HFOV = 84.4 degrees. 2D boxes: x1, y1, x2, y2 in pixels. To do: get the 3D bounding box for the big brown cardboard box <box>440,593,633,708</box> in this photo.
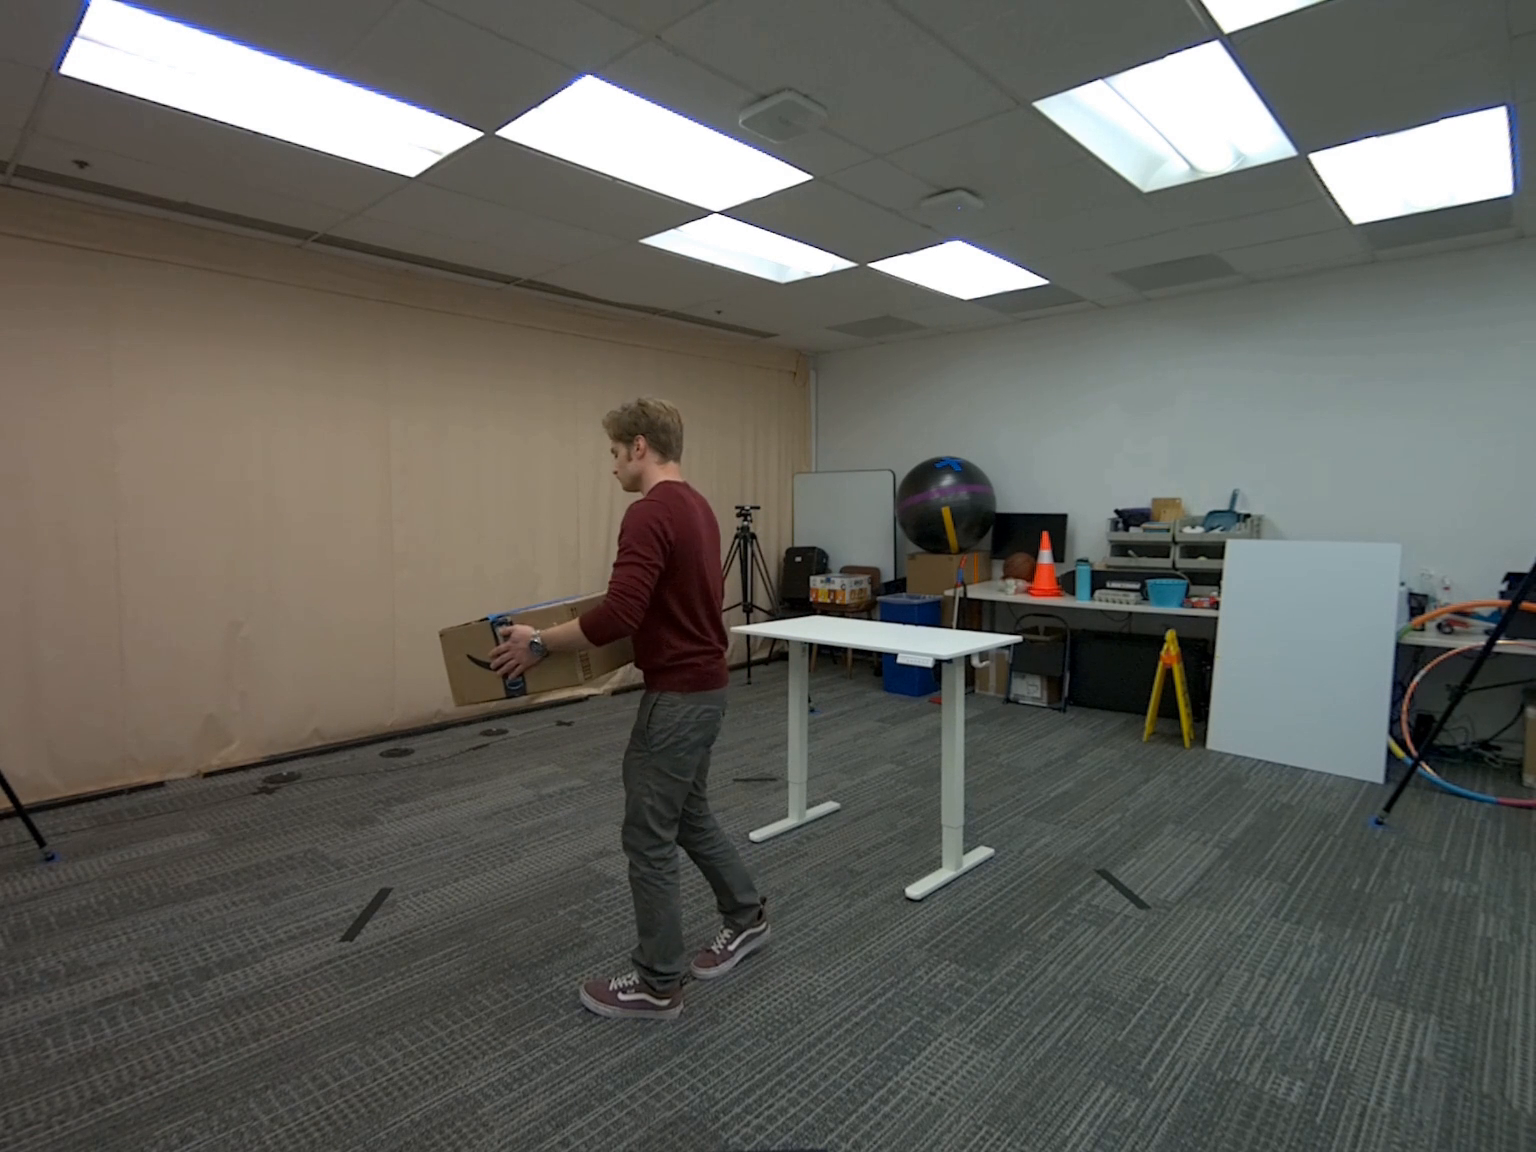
[{"bbox_3d":[-0.606,0.189,2.485,0.425,0.233,0.579,-12,1,18],"label":"big brown cardboard box"}]
